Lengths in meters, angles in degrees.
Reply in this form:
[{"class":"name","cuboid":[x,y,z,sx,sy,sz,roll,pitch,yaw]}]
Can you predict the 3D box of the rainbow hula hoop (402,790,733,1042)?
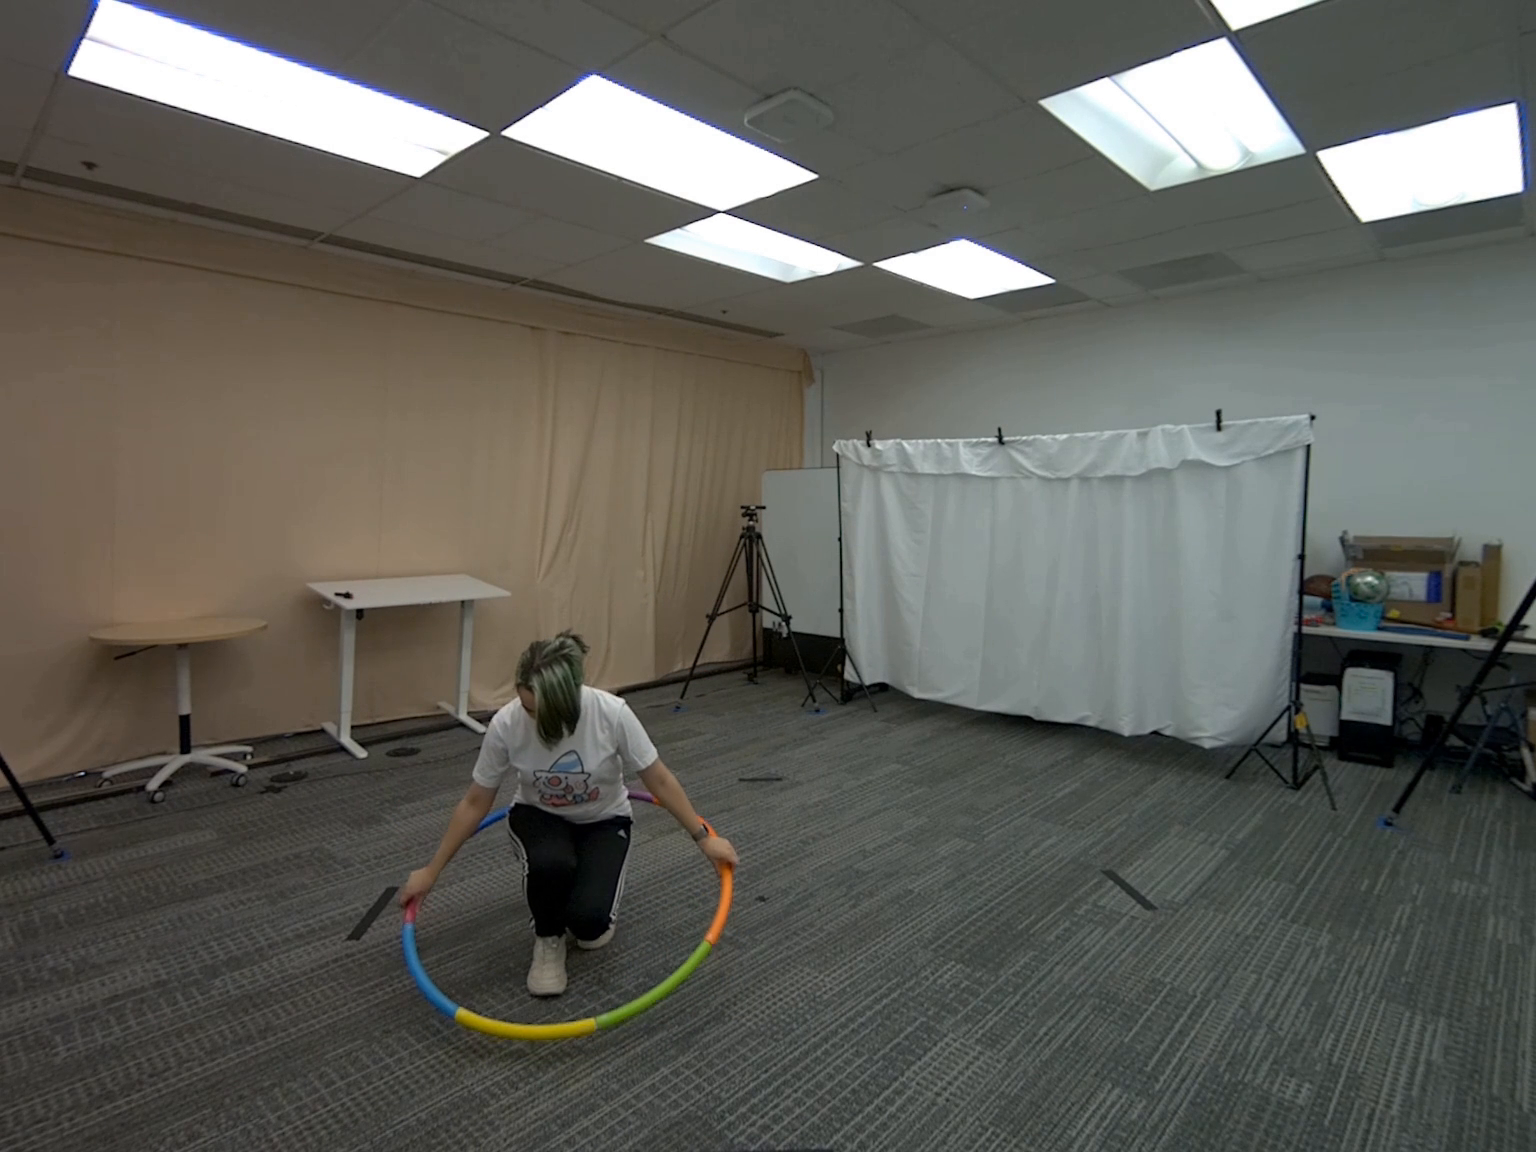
[{"class":"rainbow hula hoop","cuboid":[-0.603,0.952,2.545,0.986,0.051,0.999,-3,23,-1]}]
